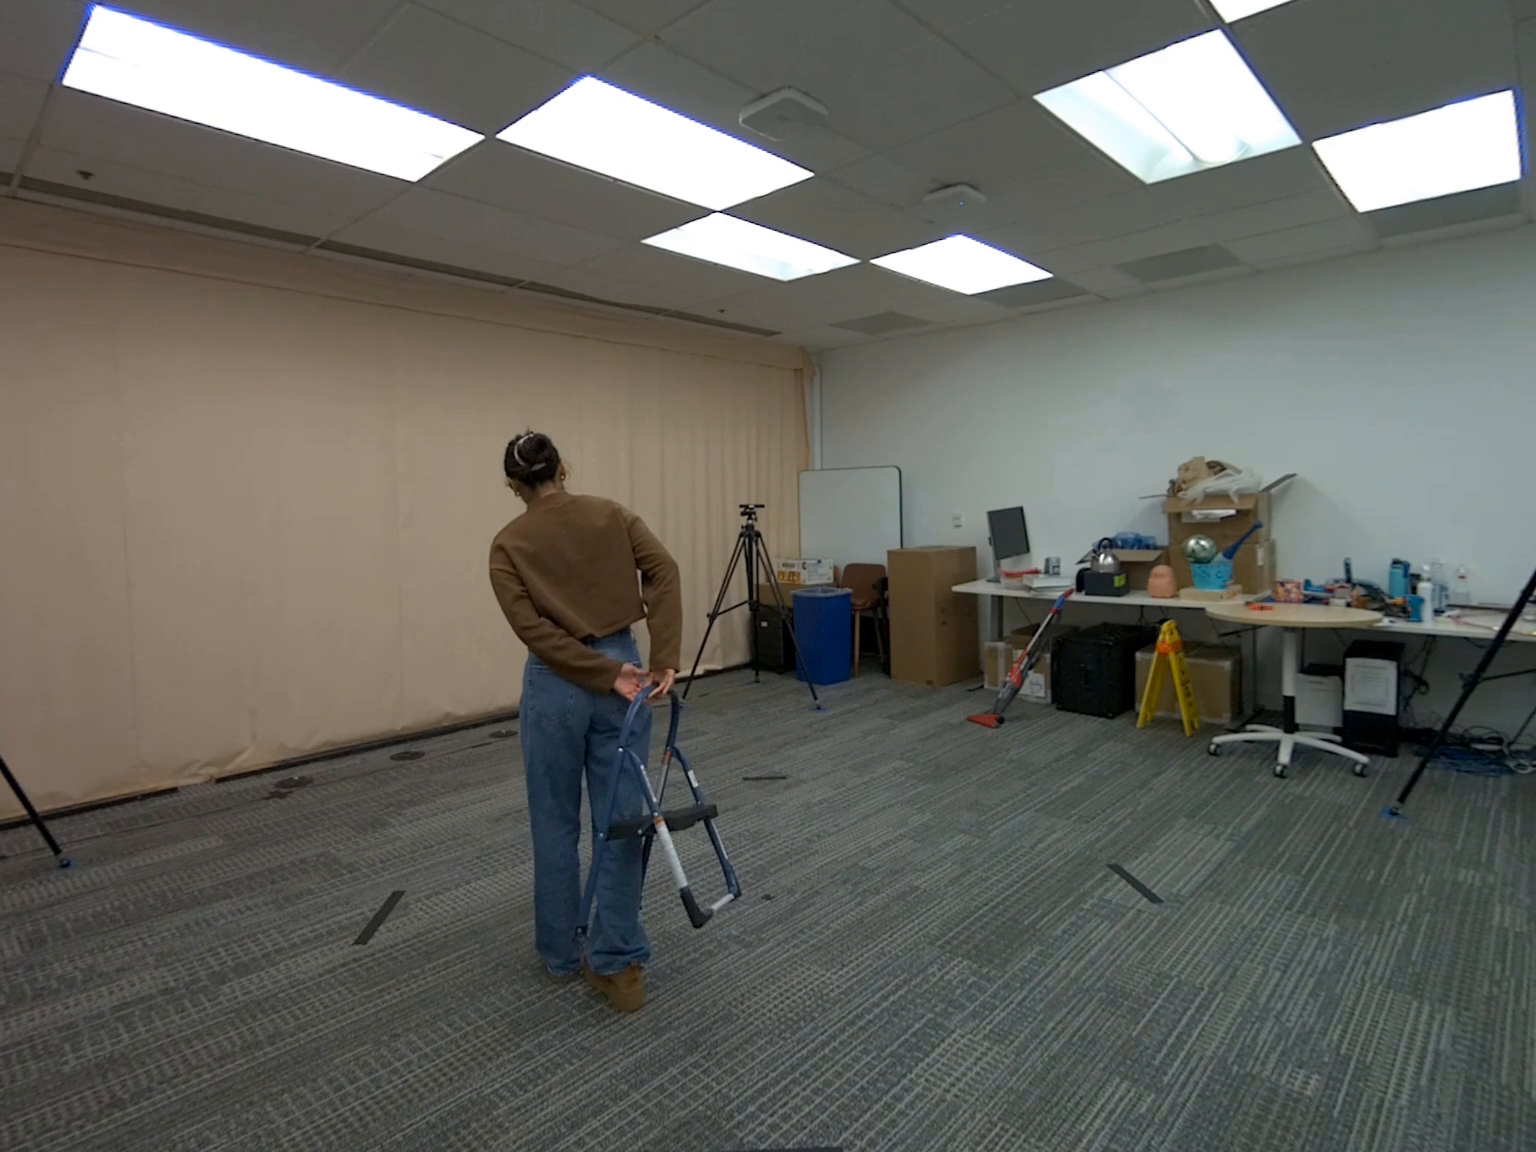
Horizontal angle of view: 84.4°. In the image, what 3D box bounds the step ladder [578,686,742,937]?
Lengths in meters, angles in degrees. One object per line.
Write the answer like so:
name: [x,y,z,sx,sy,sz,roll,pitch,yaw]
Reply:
step ladder: [-0.325,0.625,2.303,0.352,0.612,0.423,-11,-11,9]
